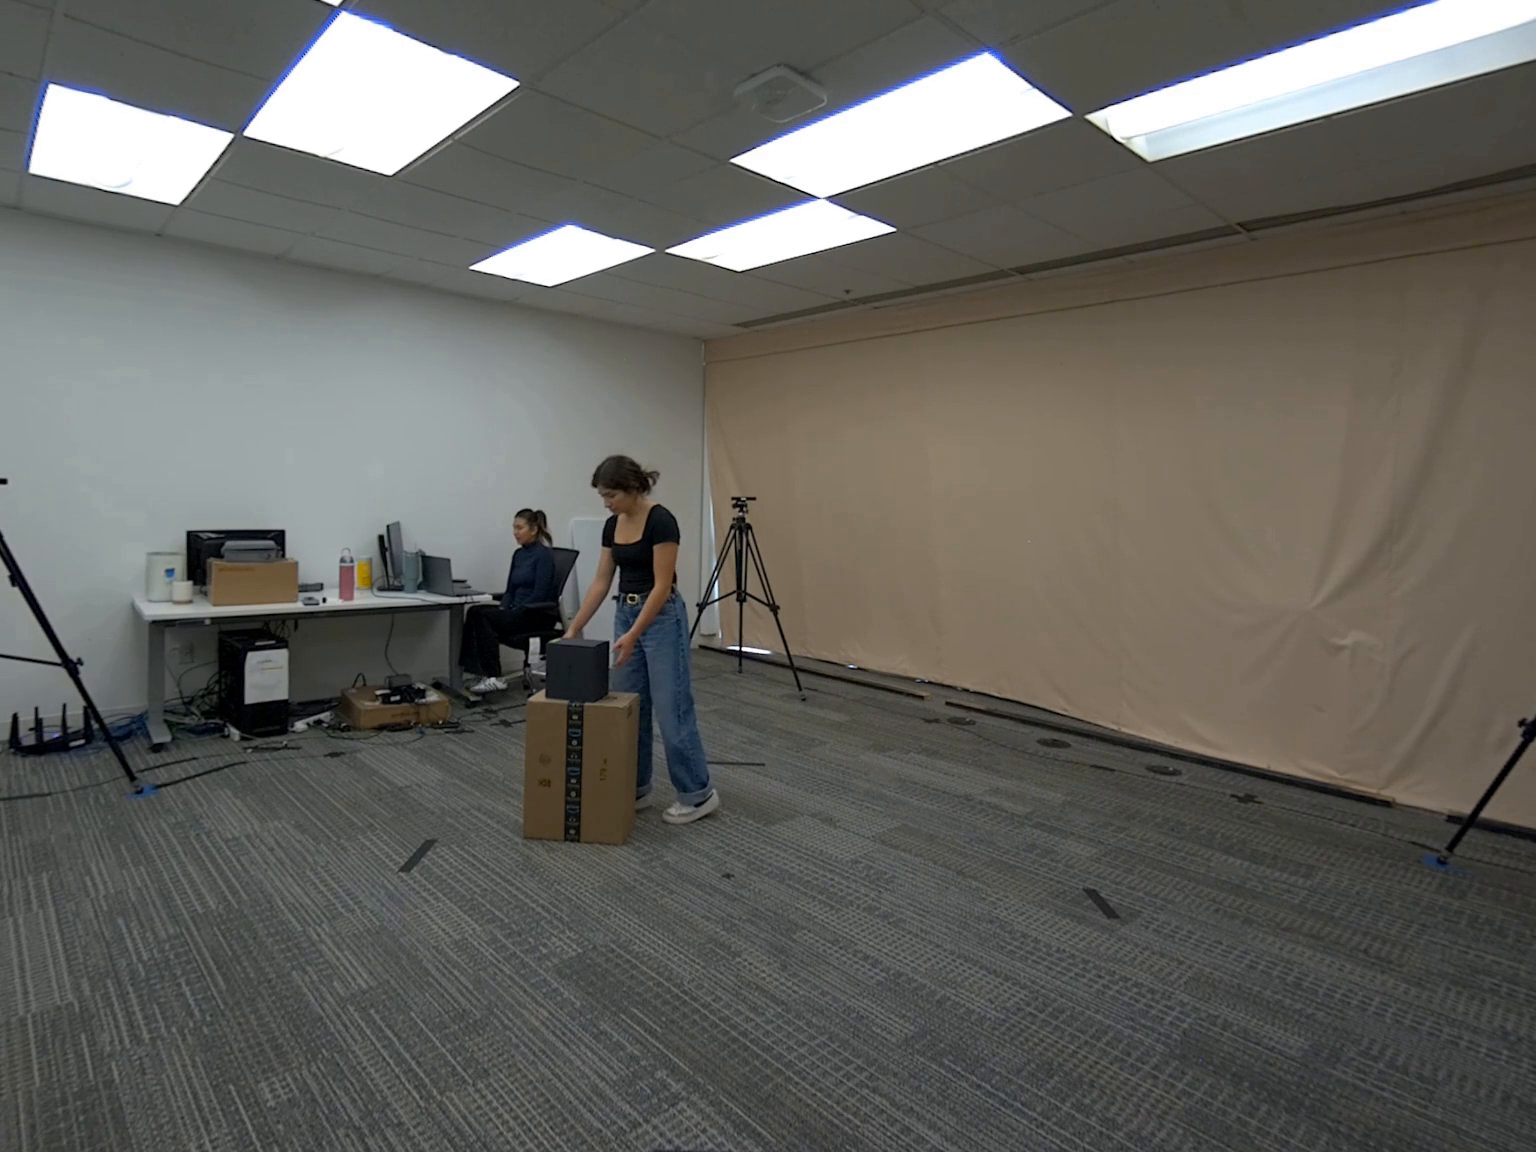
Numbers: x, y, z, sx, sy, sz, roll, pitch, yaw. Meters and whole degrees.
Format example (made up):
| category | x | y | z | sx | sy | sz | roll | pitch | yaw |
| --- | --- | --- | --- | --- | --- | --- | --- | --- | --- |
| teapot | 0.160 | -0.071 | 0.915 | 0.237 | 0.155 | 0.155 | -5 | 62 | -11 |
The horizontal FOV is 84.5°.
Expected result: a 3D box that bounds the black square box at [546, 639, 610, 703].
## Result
| category | x | y | z | sx | sy | sz | roll | pitch | yaw |
| --- | --- | --- | --- | --- | --- | --- | --- | --- | --- |
| black square box | -0.785 | 0.376 | 3.448 | 0.219 | 0.228 | 0.154 | 2 | 1 | 11 |
